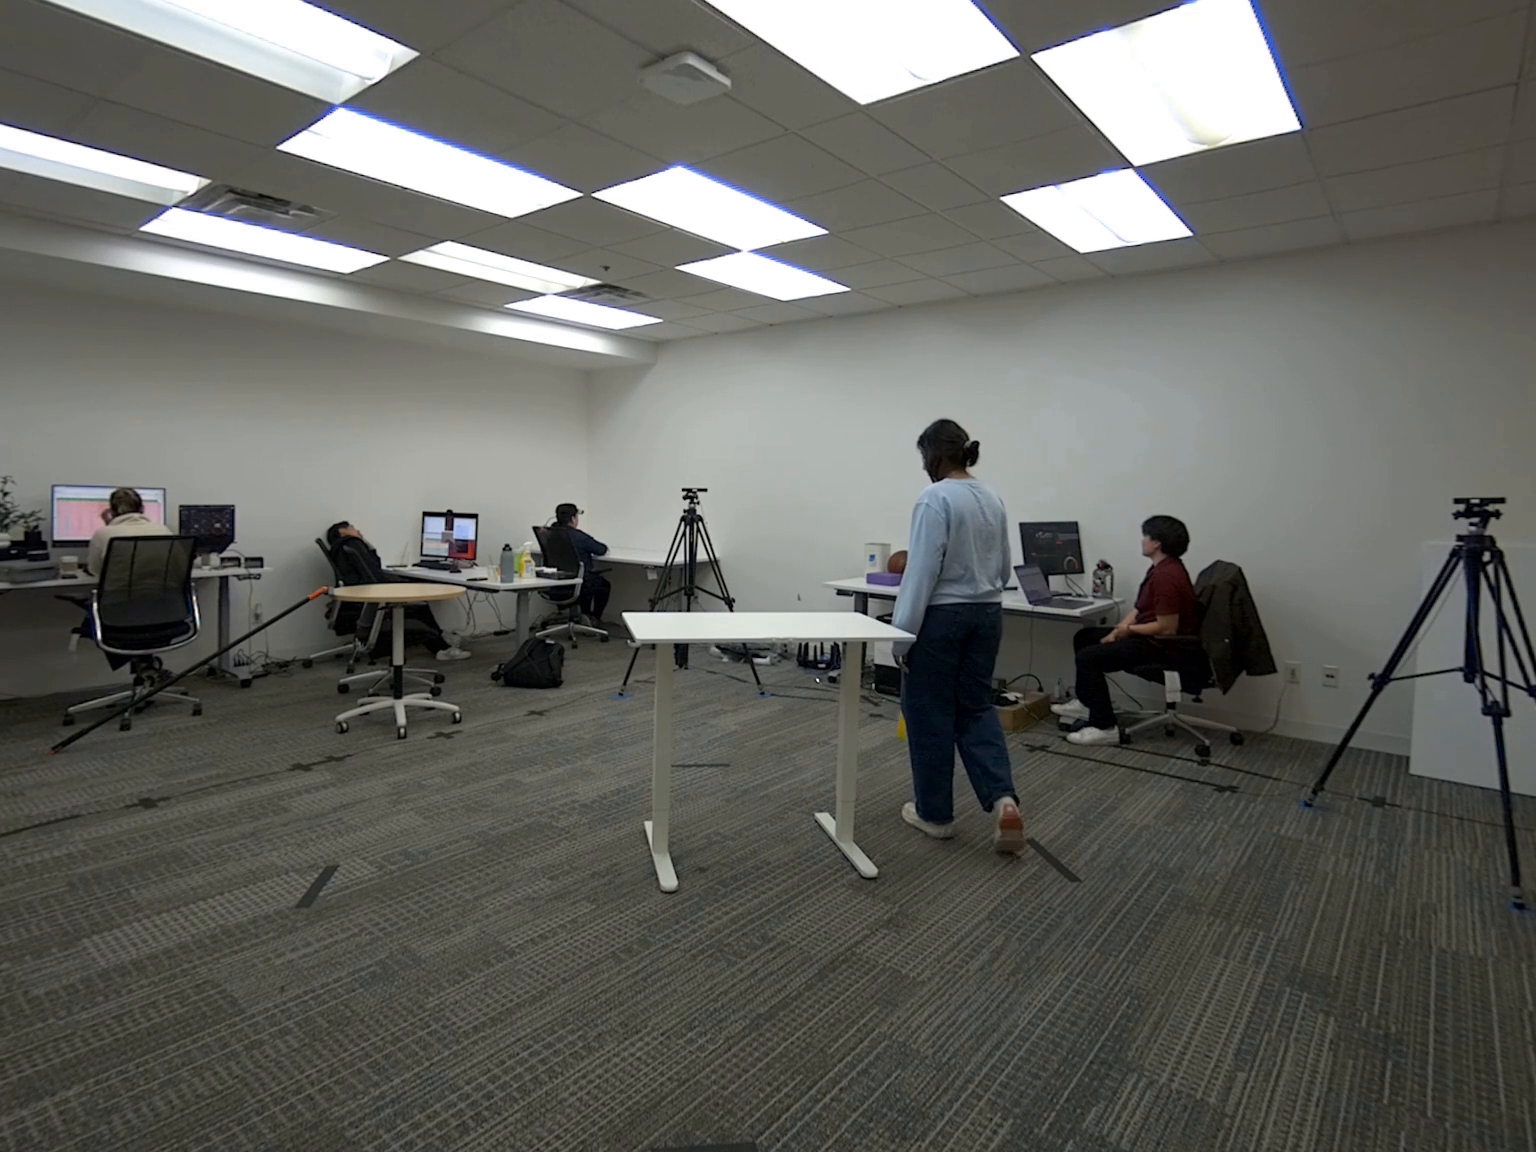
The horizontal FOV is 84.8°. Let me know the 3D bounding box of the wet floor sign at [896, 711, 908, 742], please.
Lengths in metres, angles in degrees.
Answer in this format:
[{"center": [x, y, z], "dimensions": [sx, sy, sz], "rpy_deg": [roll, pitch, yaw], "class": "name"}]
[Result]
[{"center": [0.760, 0.408, 3.817], "dimensions": [0.292, 0.642, 0.281], "rpy_deg": [8, 8, 41], "class": "wet floor sign"}]
